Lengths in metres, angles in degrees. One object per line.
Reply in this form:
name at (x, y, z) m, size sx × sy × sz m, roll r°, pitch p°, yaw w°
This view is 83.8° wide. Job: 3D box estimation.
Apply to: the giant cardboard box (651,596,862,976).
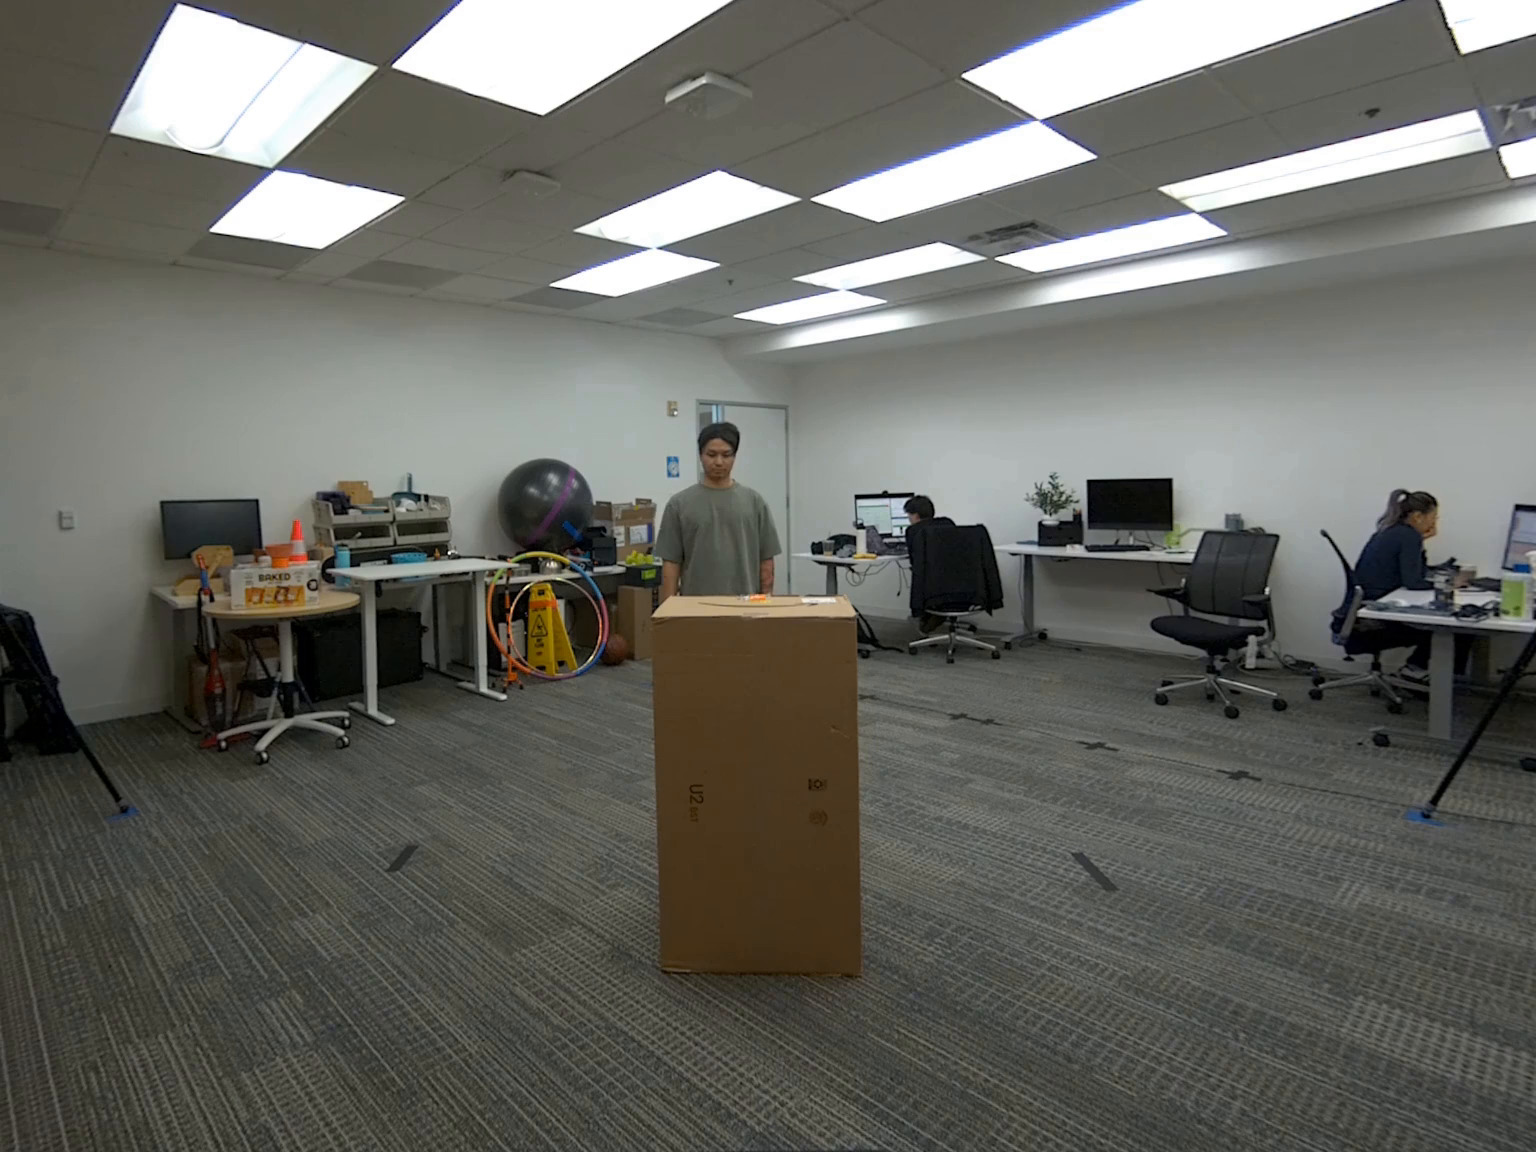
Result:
giant cardboard box at (-0.026, 0.597, 2.589) m, size 0.579 × 1.022 × 0.426 m, roll -1°, pitch 4°, yaw 3°
